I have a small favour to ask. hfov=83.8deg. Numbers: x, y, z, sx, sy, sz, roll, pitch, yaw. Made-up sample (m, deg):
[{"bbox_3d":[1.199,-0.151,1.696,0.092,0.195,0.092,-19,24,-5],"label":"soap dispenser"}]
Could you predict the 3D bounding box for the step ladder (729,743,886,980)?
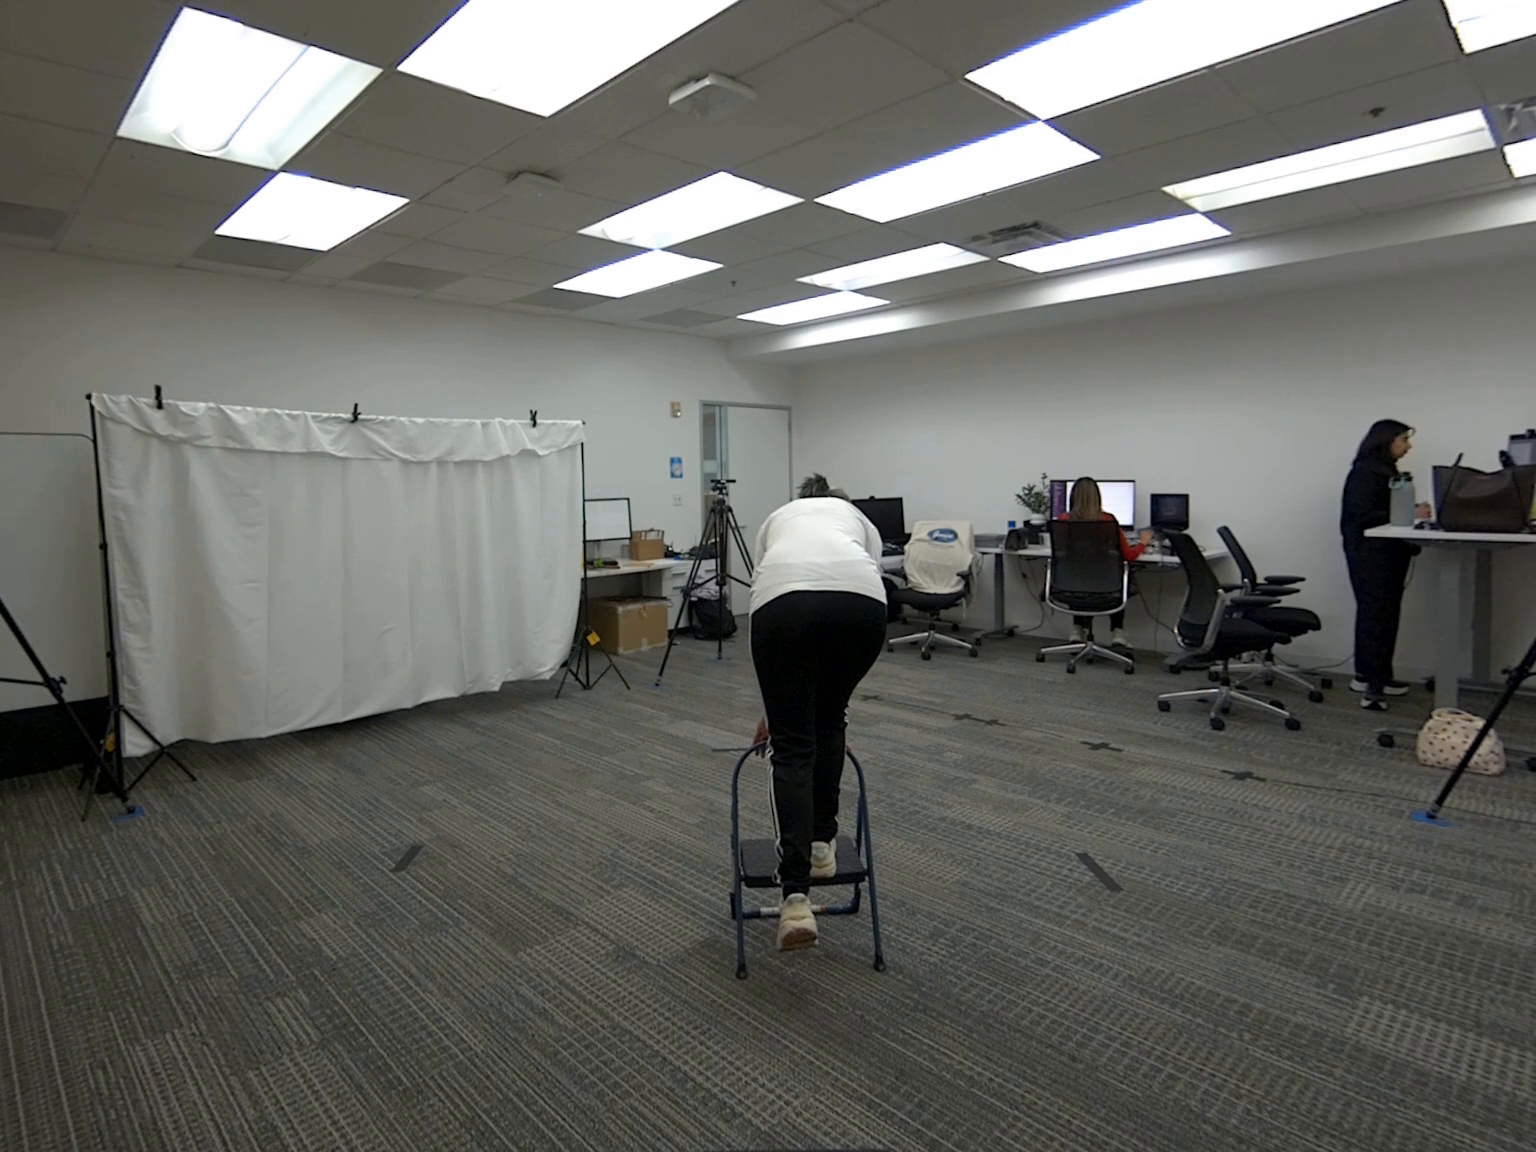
[{"bbox_3d":[0.103,0.811,2.564,0.429,0.604,0.352,-2,4,-5],"label":"step ladder"}]
